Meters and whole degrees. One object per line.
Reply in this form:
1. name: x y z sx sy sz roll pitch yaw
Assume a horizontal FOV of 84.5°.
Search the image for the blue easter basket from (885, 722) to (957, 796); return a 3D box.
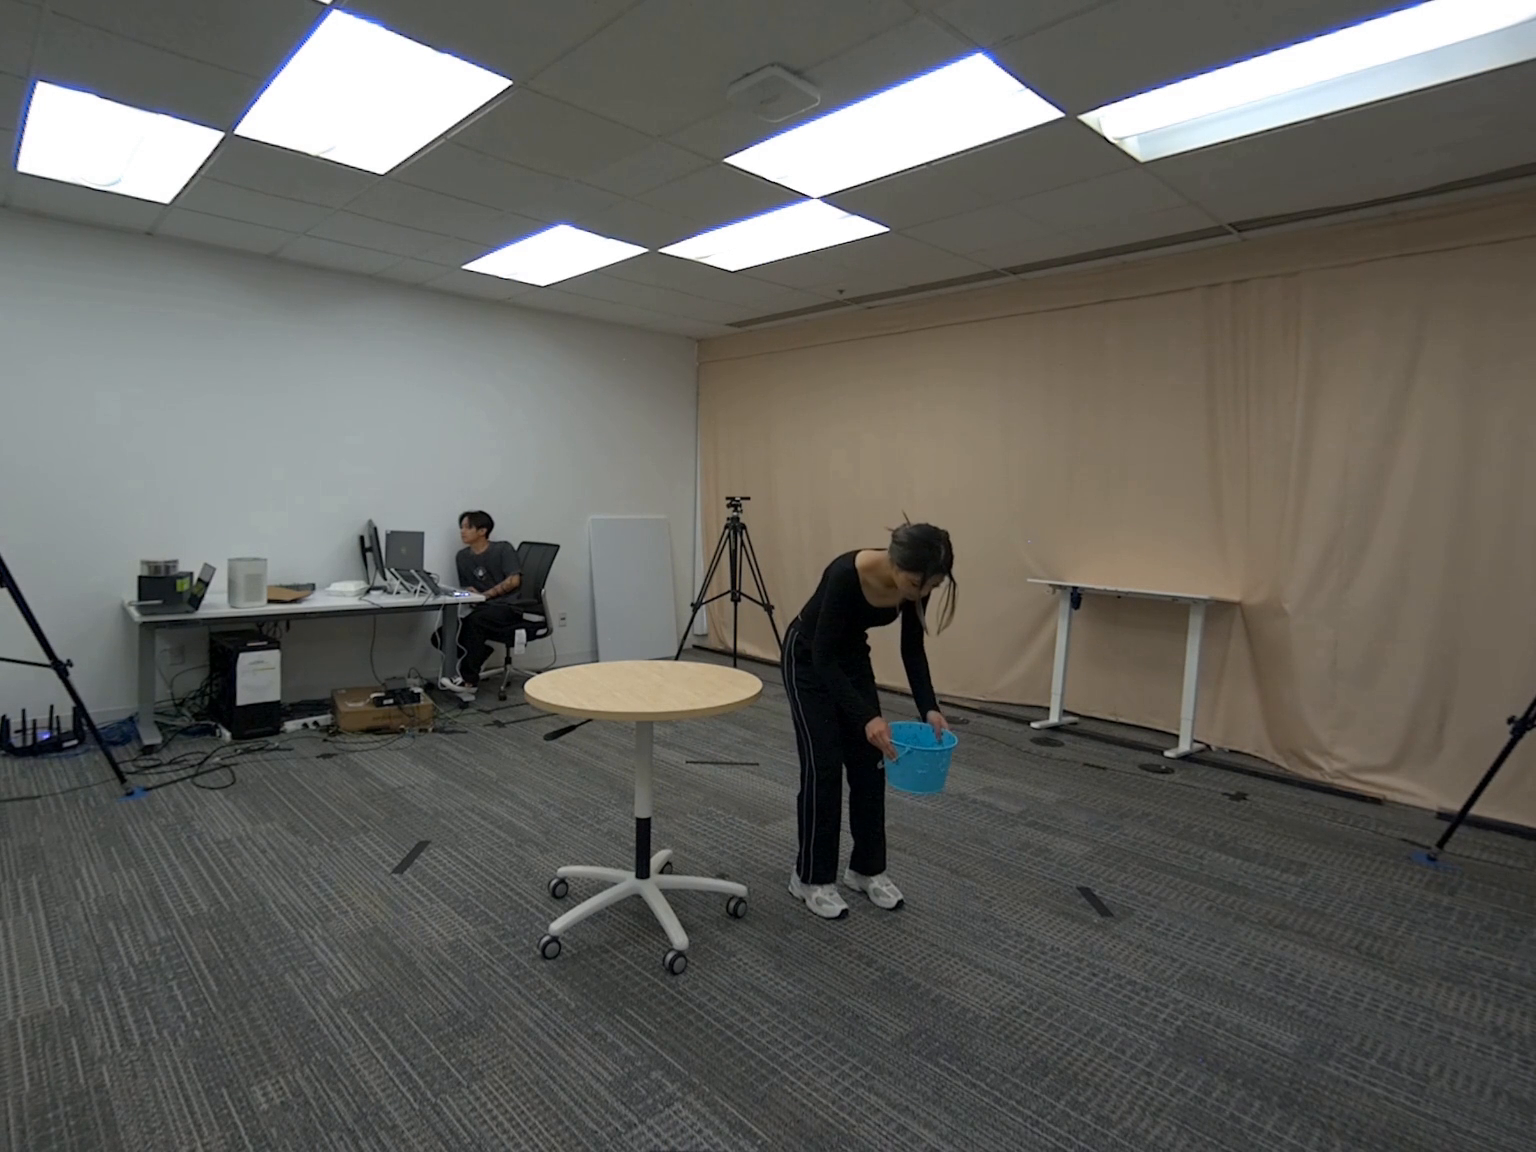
1. blue easter basket: 0.441 0.568 2.613 0.243 0.155 0.245 4 9 -2
